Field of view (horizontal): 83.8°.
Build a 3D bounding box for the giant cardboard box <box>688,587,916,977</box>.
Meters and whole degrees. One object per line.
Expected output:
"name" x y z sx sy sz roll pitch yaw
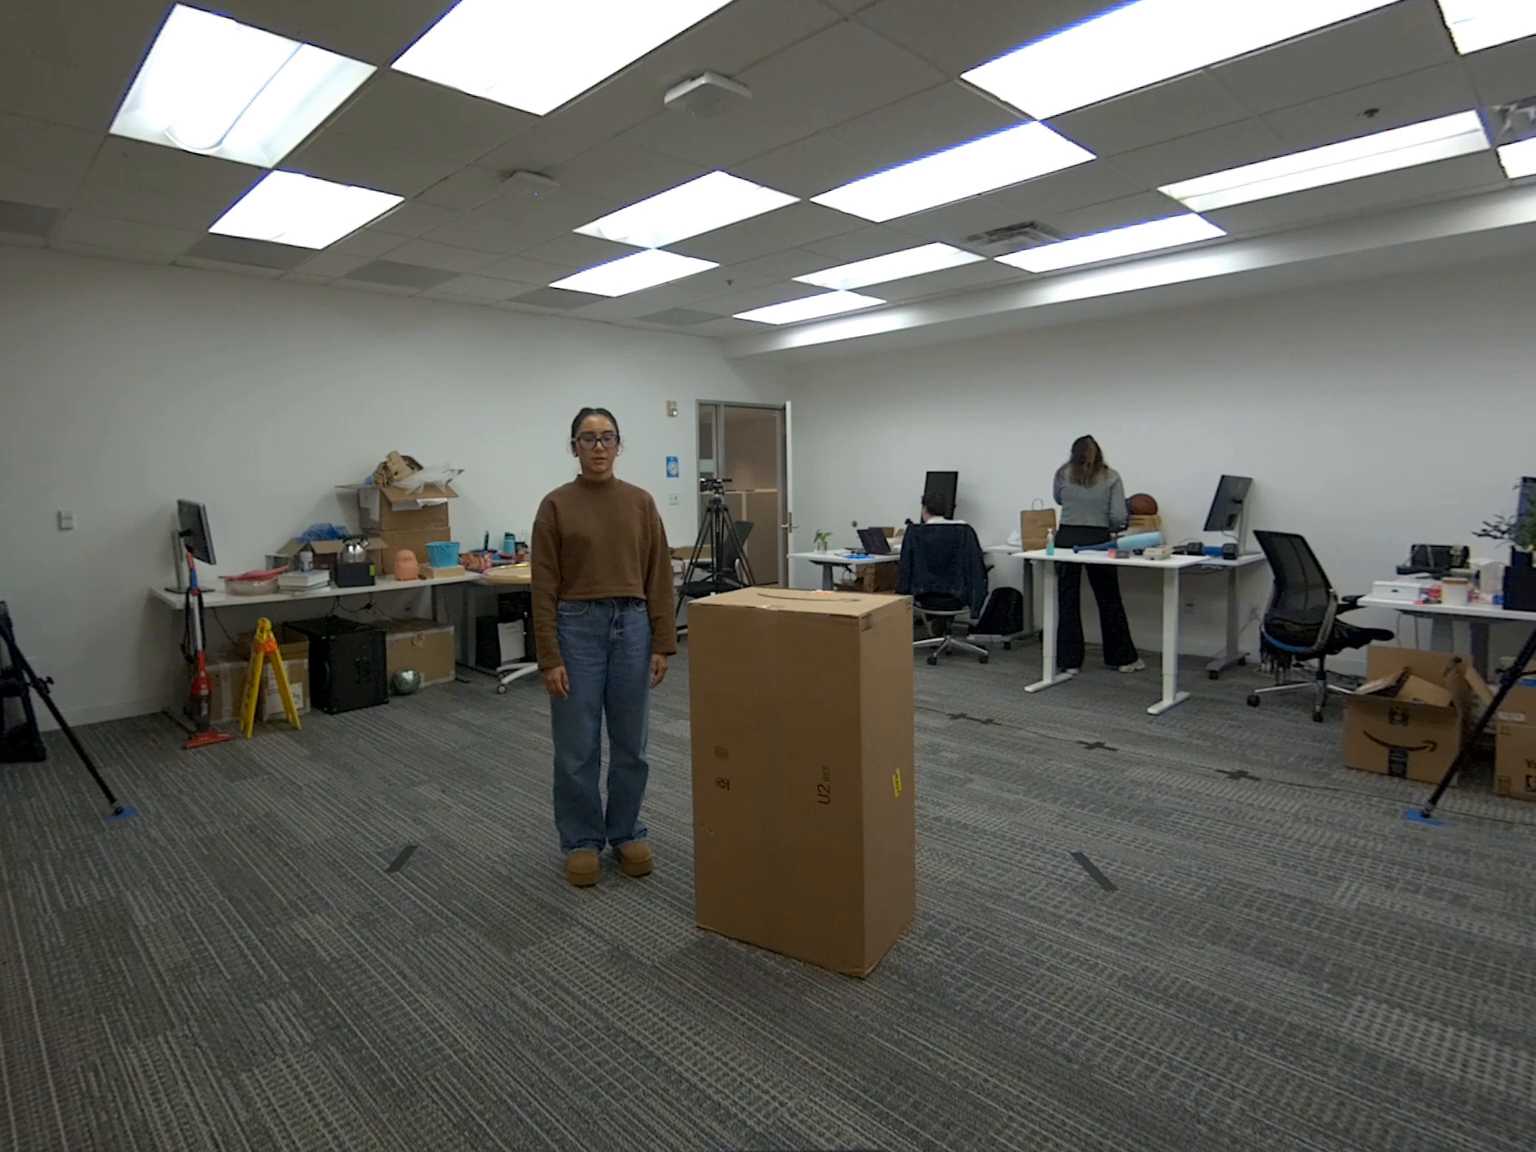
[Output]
"giant cardboard box" 0.114 0.582 2.665 0.593 1.022 0.416 2 5 32
